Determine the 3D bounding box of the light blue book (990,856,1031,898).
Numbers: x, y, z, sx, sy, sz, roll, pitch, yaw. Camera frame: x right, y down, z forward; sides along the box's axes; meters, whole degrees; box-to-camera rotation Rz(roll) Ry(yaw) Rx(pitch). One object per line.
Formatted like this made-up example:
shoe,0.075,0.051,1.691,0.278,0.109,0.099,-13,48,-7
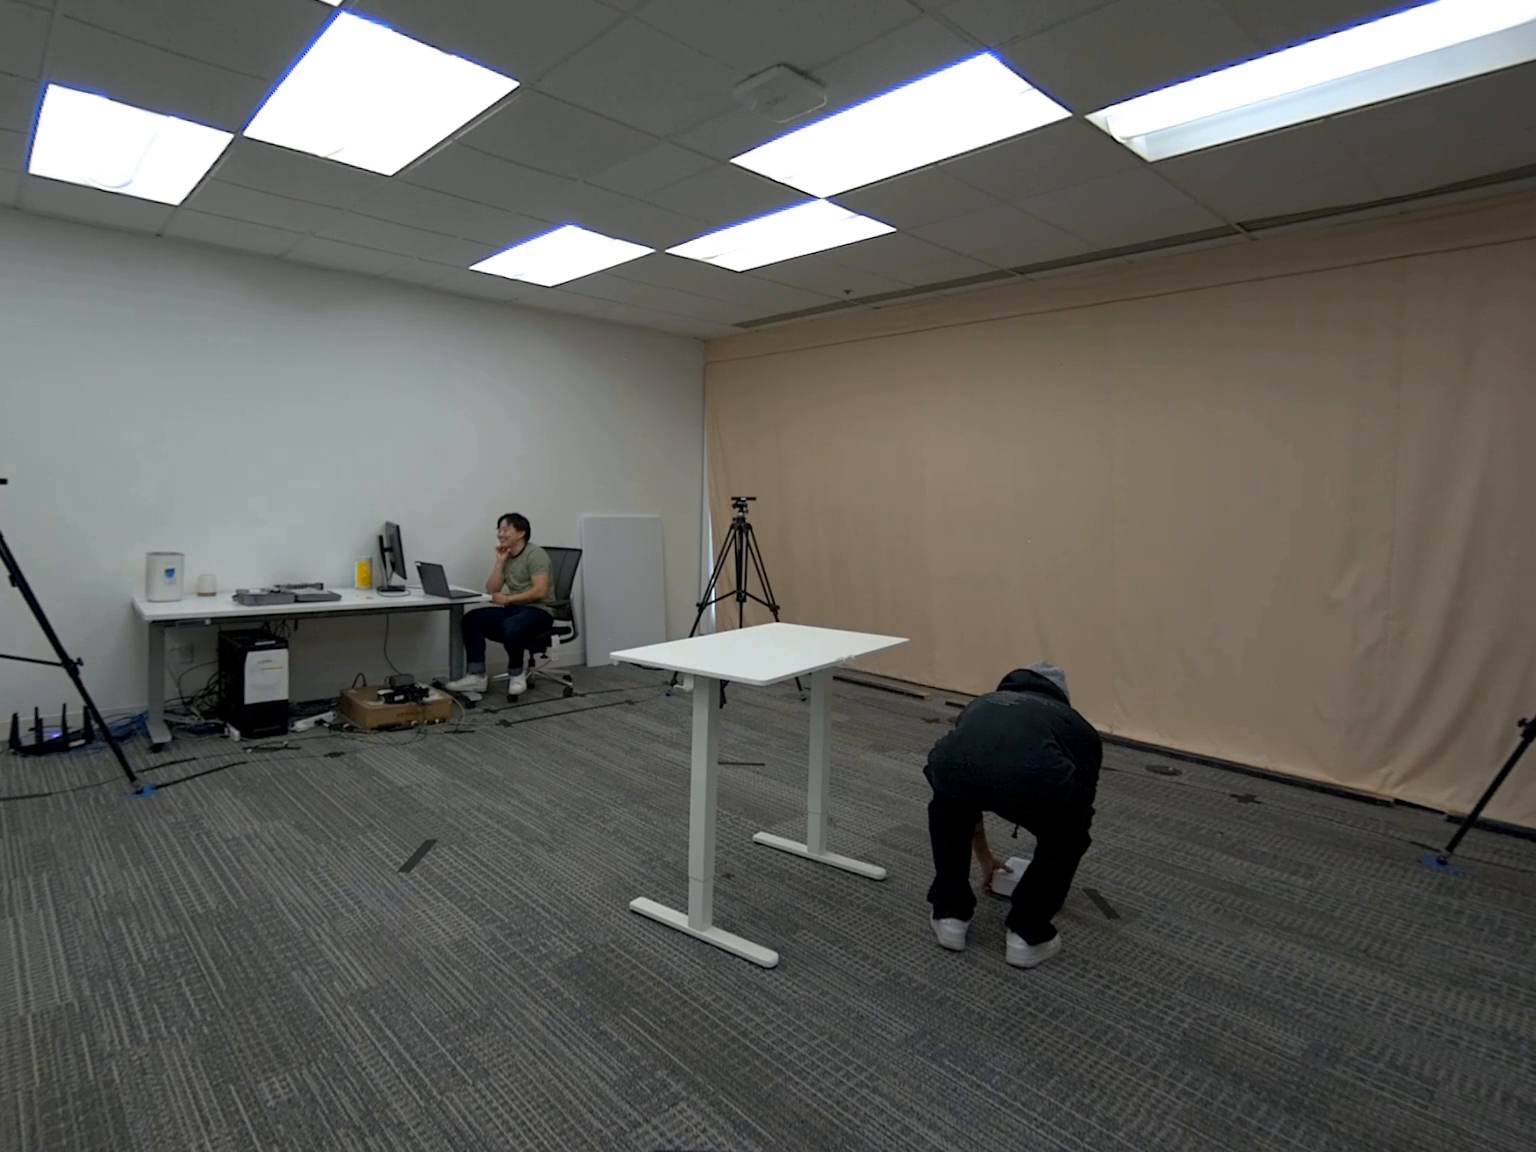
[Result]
light blue book,0.936,1.102,3.055,0.196,0.059,0.255,6,2,31
